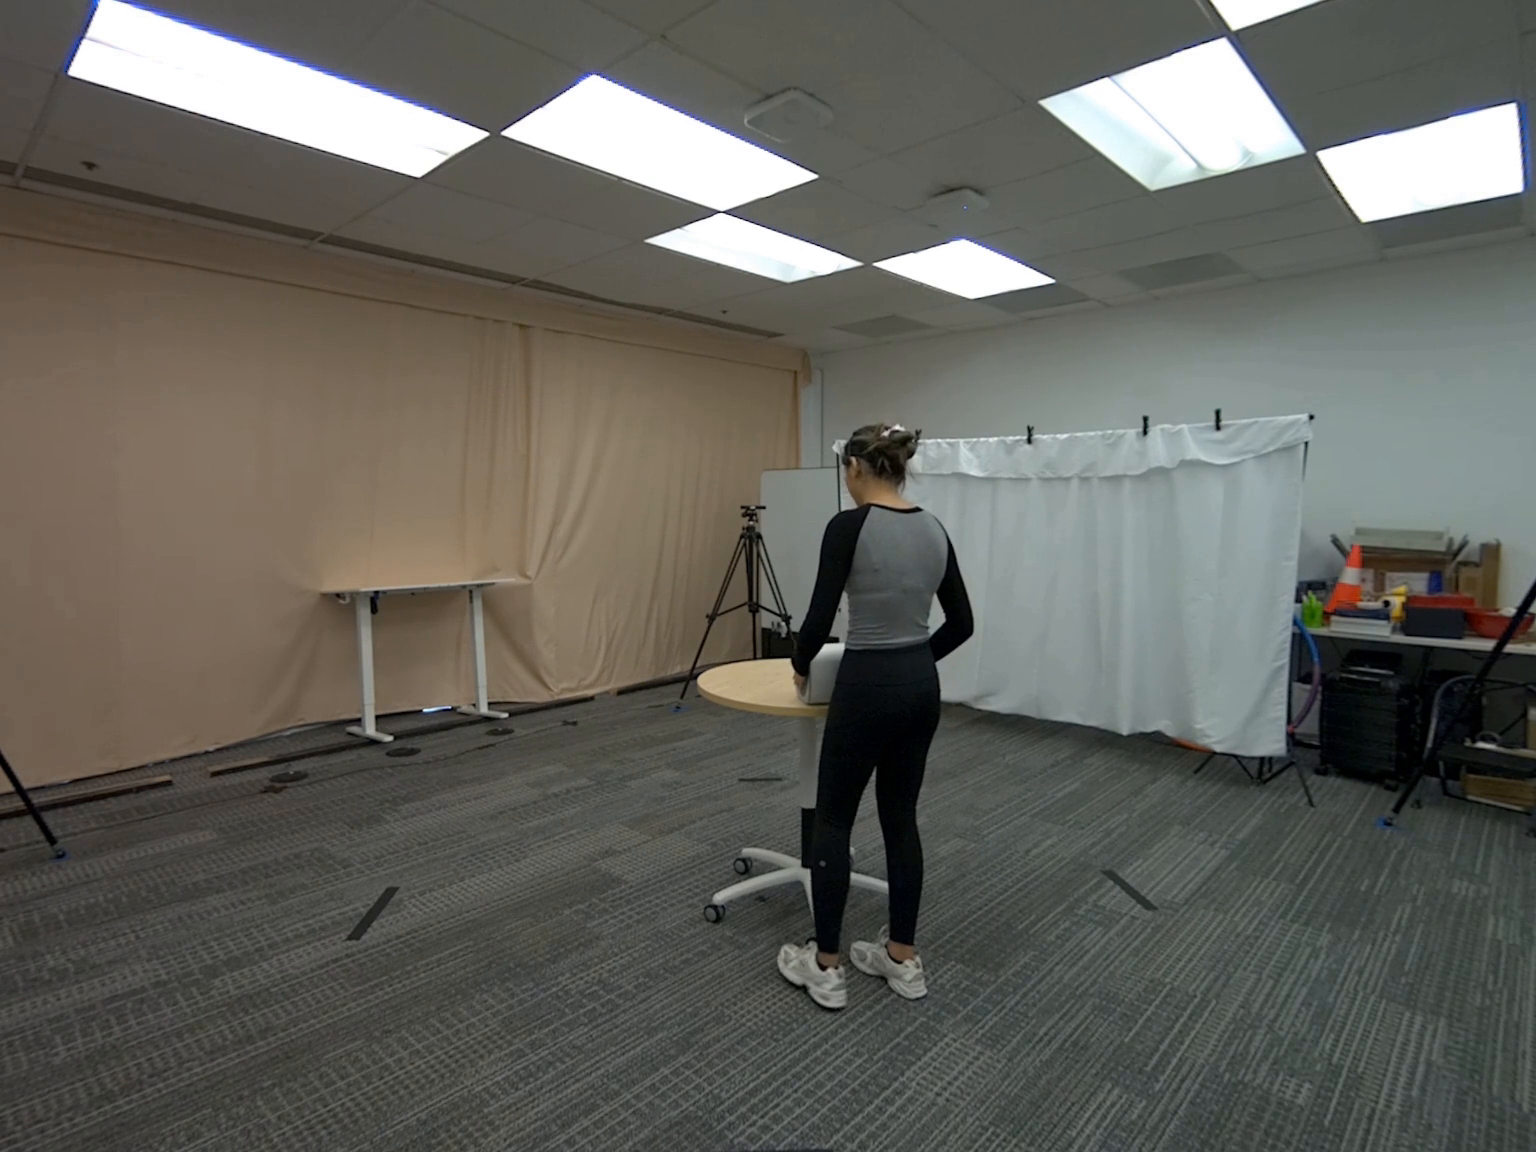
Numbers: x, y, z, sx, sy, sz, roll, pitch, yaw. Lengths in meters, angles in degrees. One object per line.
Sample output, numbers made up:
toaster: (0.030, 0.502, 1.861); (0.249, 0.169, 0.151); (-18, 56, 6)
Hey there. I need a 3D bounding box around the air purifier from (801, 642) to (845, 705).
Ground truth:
air purifier: (0.226, 0.299, 2.601); (0.263, 0.171, 0.173); (-1, 3, -8)
